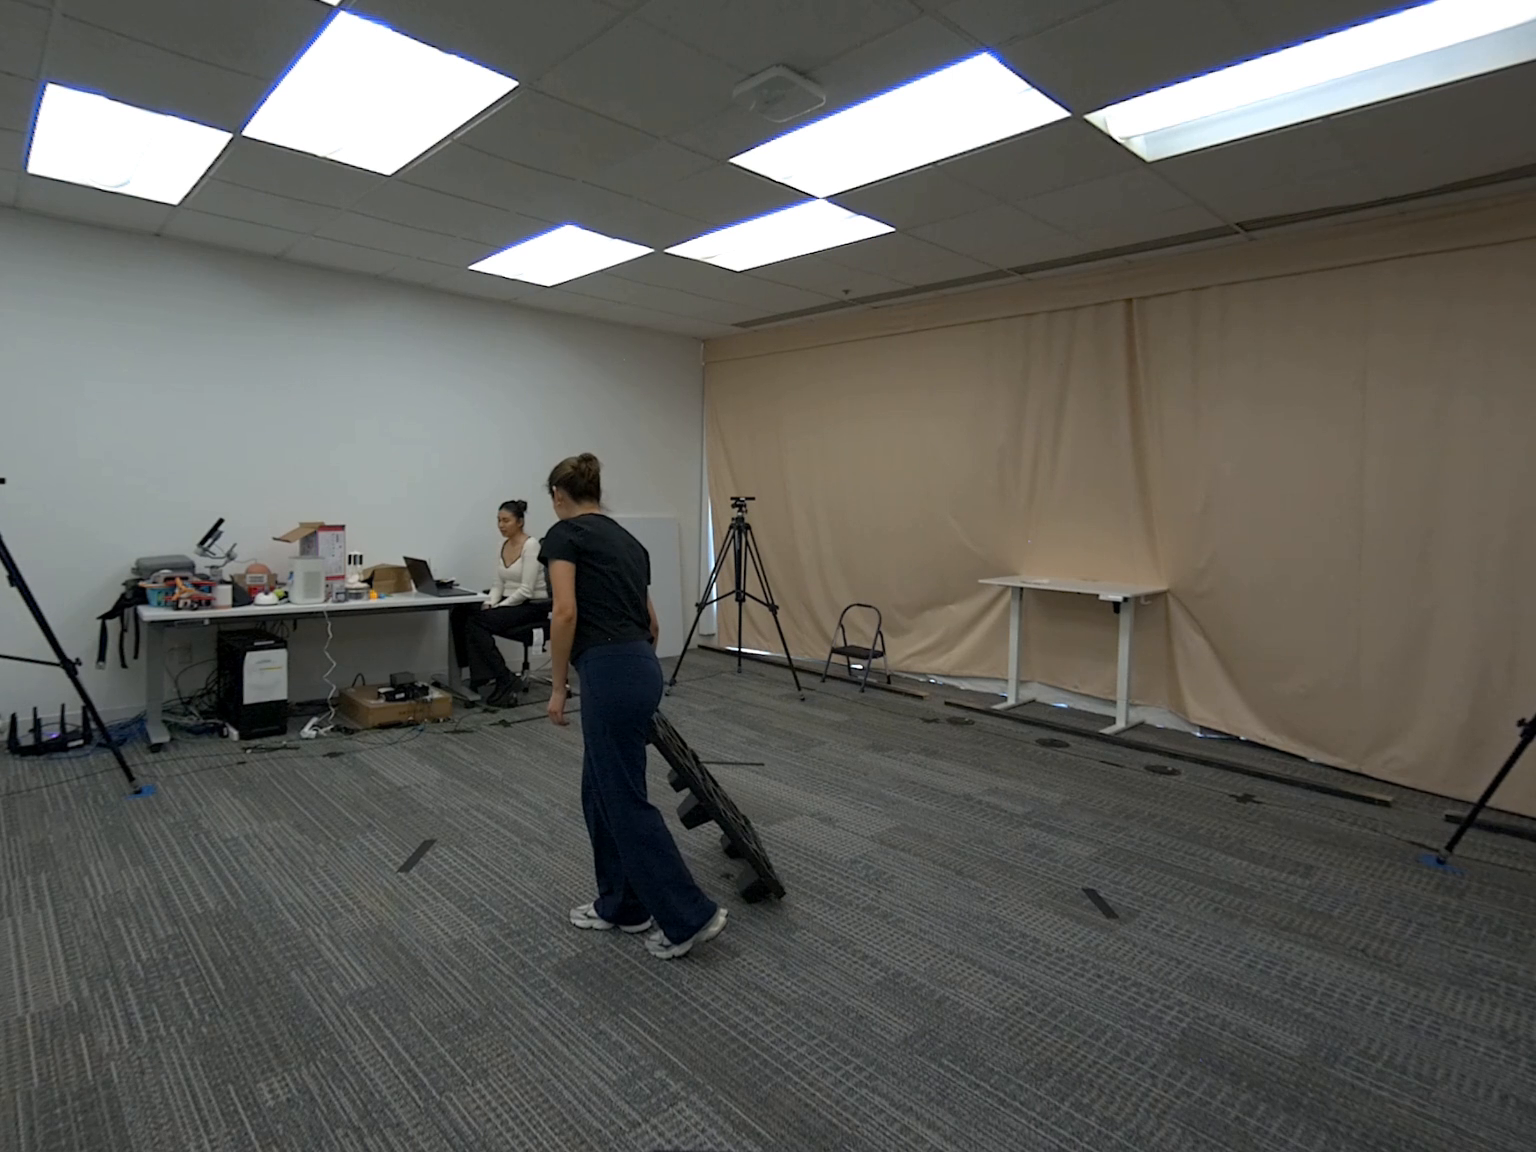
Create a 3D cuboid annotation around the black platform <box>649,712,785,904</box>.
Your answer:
[{"bbox_3d":[-0.279,0.777,3.060,0.143,0.798,0.612,-37,9,-7],"label":"black platform"}]
